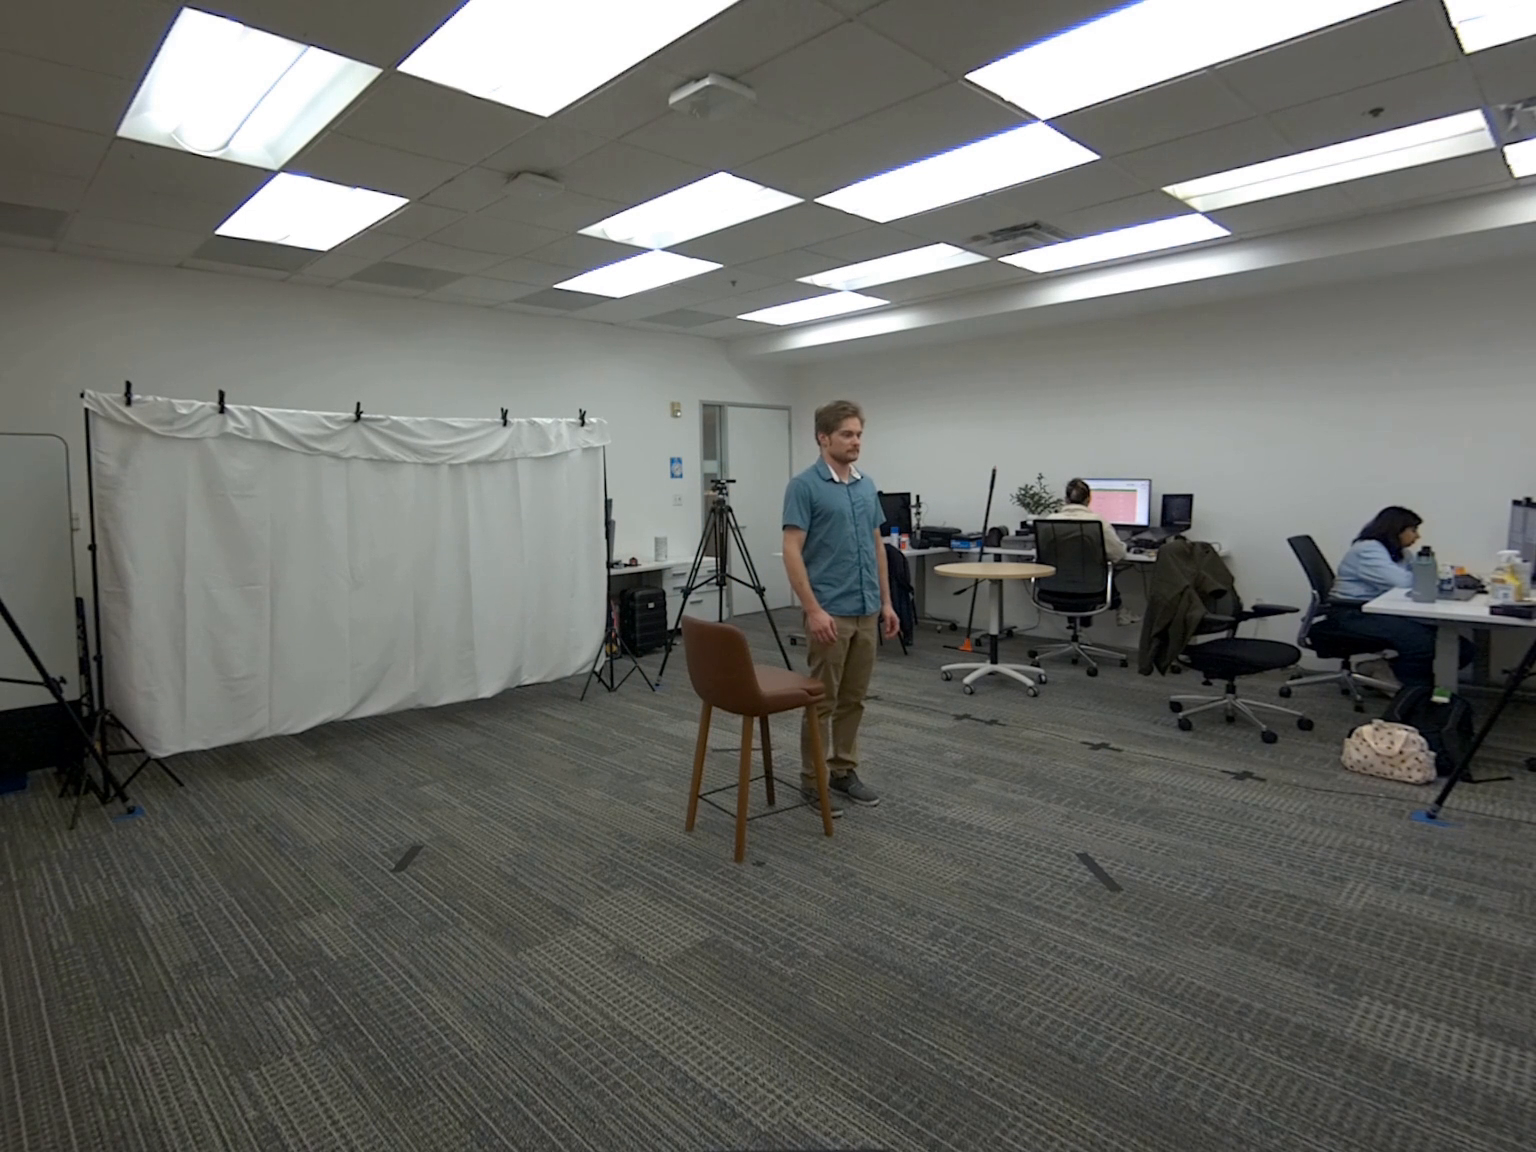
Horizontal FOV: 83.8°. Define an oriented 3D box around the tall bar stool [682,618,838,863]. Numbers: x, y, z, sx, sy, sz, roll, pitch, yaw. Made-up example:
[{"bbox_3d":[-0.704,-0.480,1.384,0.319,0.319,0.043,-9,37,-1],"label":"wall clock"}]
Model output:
[{"bbox_3d":[-0.053,0.584,3.358,0.456,0.885,0.470,-6,6,-35],"label":"tall bar stool"}]
